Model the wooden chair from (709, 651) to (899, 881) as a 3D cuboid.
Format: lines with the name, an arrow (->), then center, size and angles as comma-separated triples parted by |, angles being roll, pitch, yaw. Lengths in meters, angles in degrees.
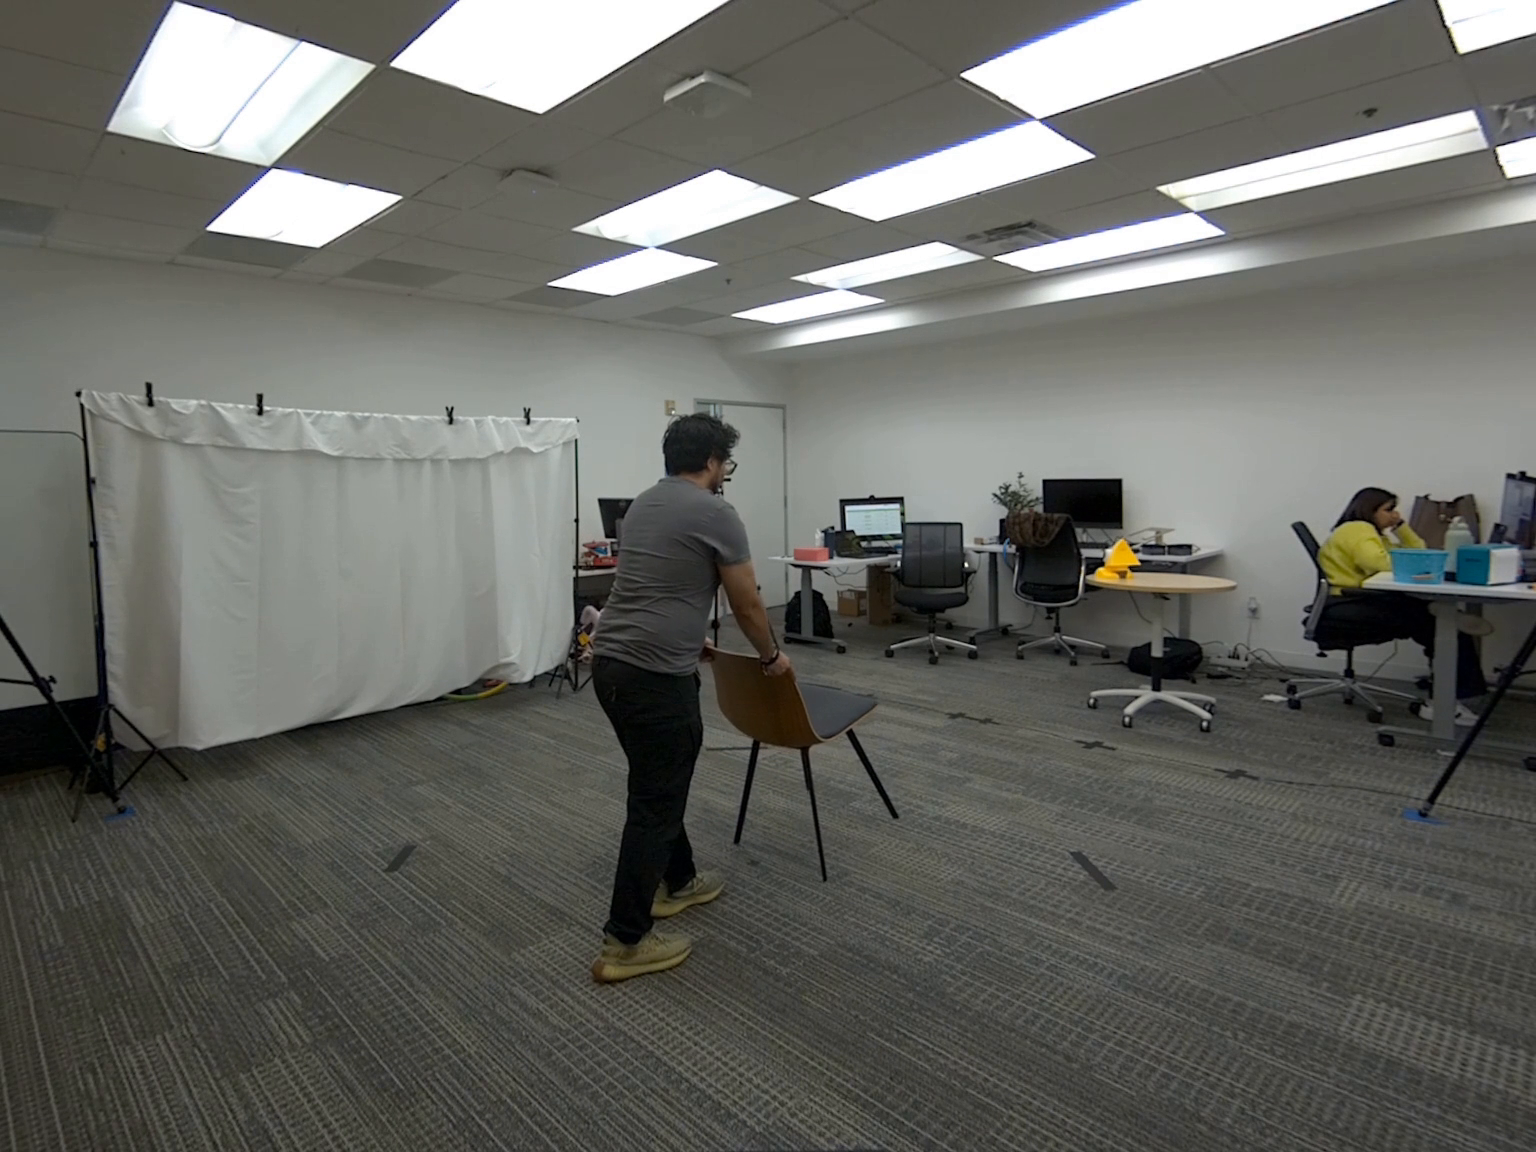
wooden chair -> 0.118, 0.562, 3.169 | 0.493, 0.862, 0.516 | 3, 23, 45
